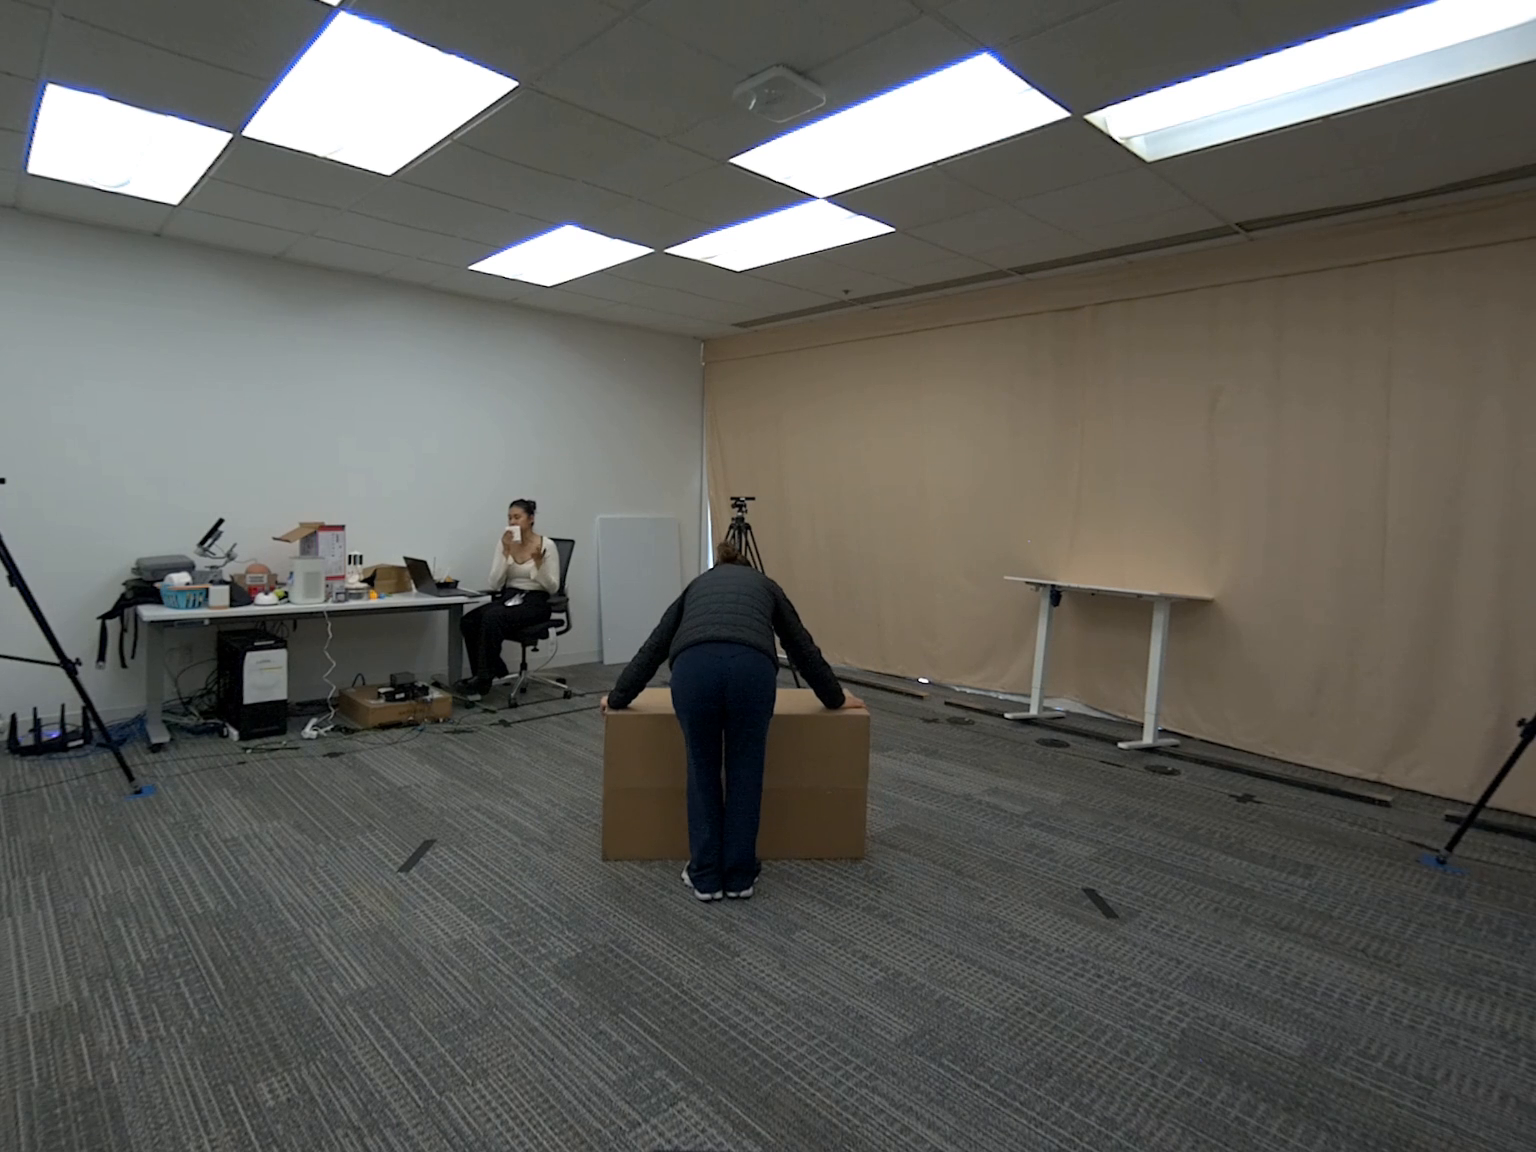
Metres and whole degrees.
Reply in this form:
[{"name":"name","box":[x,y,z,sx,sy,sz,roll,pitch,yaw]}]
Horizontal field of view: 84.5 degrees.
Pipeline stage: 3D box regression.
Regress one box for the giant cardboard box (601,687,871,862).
[{"name":"giant cardboard box","box":[-0.149,0.789,3.429,1.023,0.582,0.450,1,6,-4]}]
